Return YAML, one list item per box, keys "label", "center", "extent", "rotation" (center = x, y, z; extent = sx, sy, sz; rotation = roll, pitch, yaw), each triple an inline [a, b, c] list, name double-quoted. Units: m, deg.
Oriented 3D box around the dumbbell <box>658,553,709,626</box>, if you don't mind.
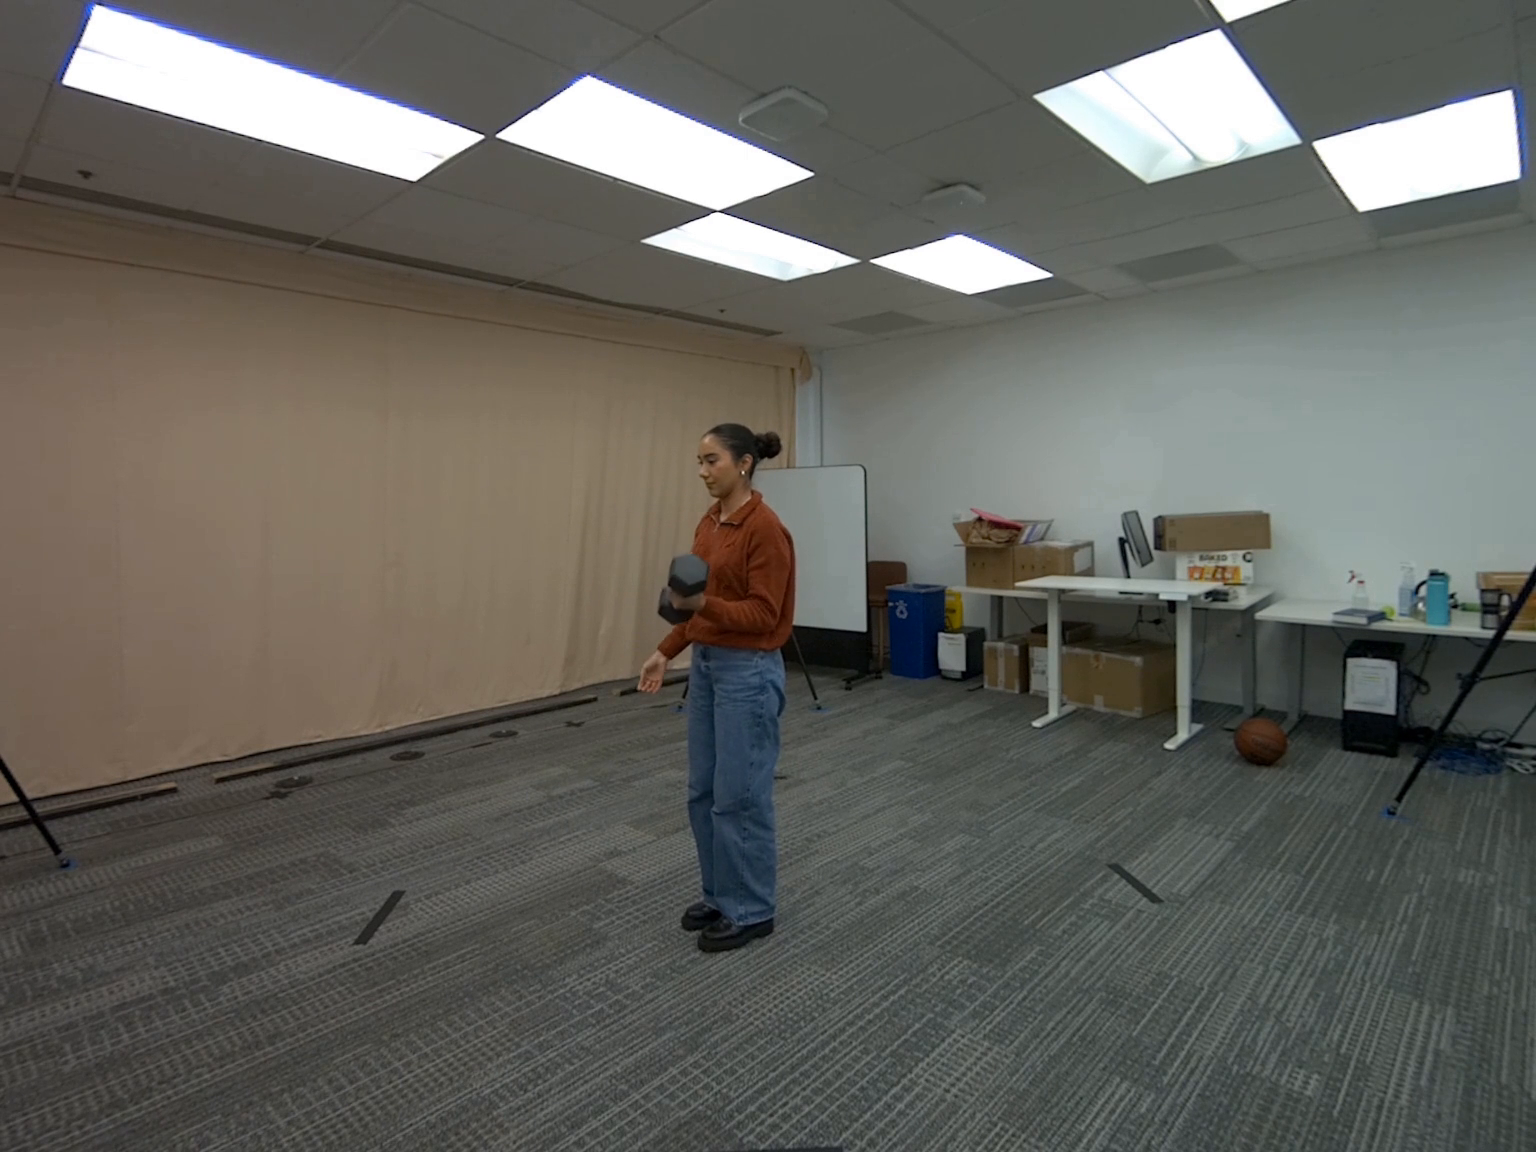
- label: "dumbbell"
  center: [-0.242, 0.048, 2.479]
  extent: [0.108, 0.124, 0.293]
  rotation: [-49, -4, -30]
